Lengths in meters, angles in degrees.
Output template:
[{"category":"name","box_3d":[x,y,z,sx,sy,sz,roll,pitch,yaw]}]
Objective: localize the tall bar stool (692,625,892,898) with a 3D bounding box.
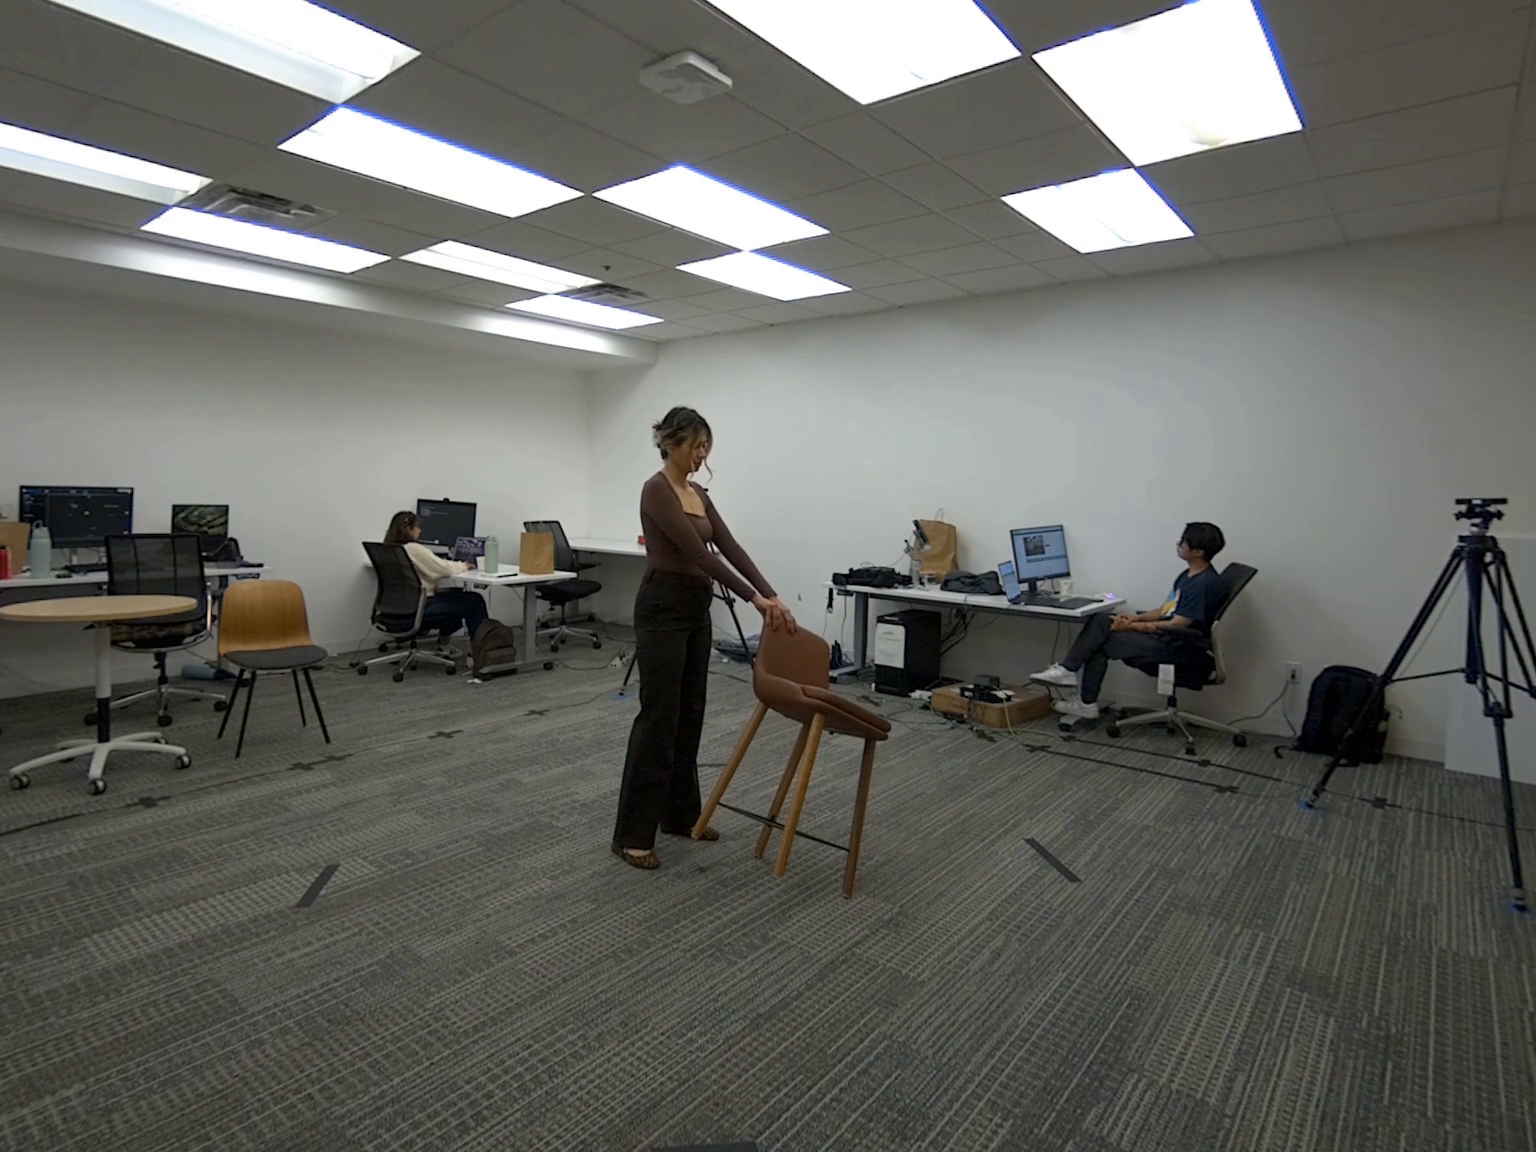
[{"category":"tall bar stool","box_3d":[0.126,0.605,3.081,0.482,0.898,0.438,0,-24,45]}]
